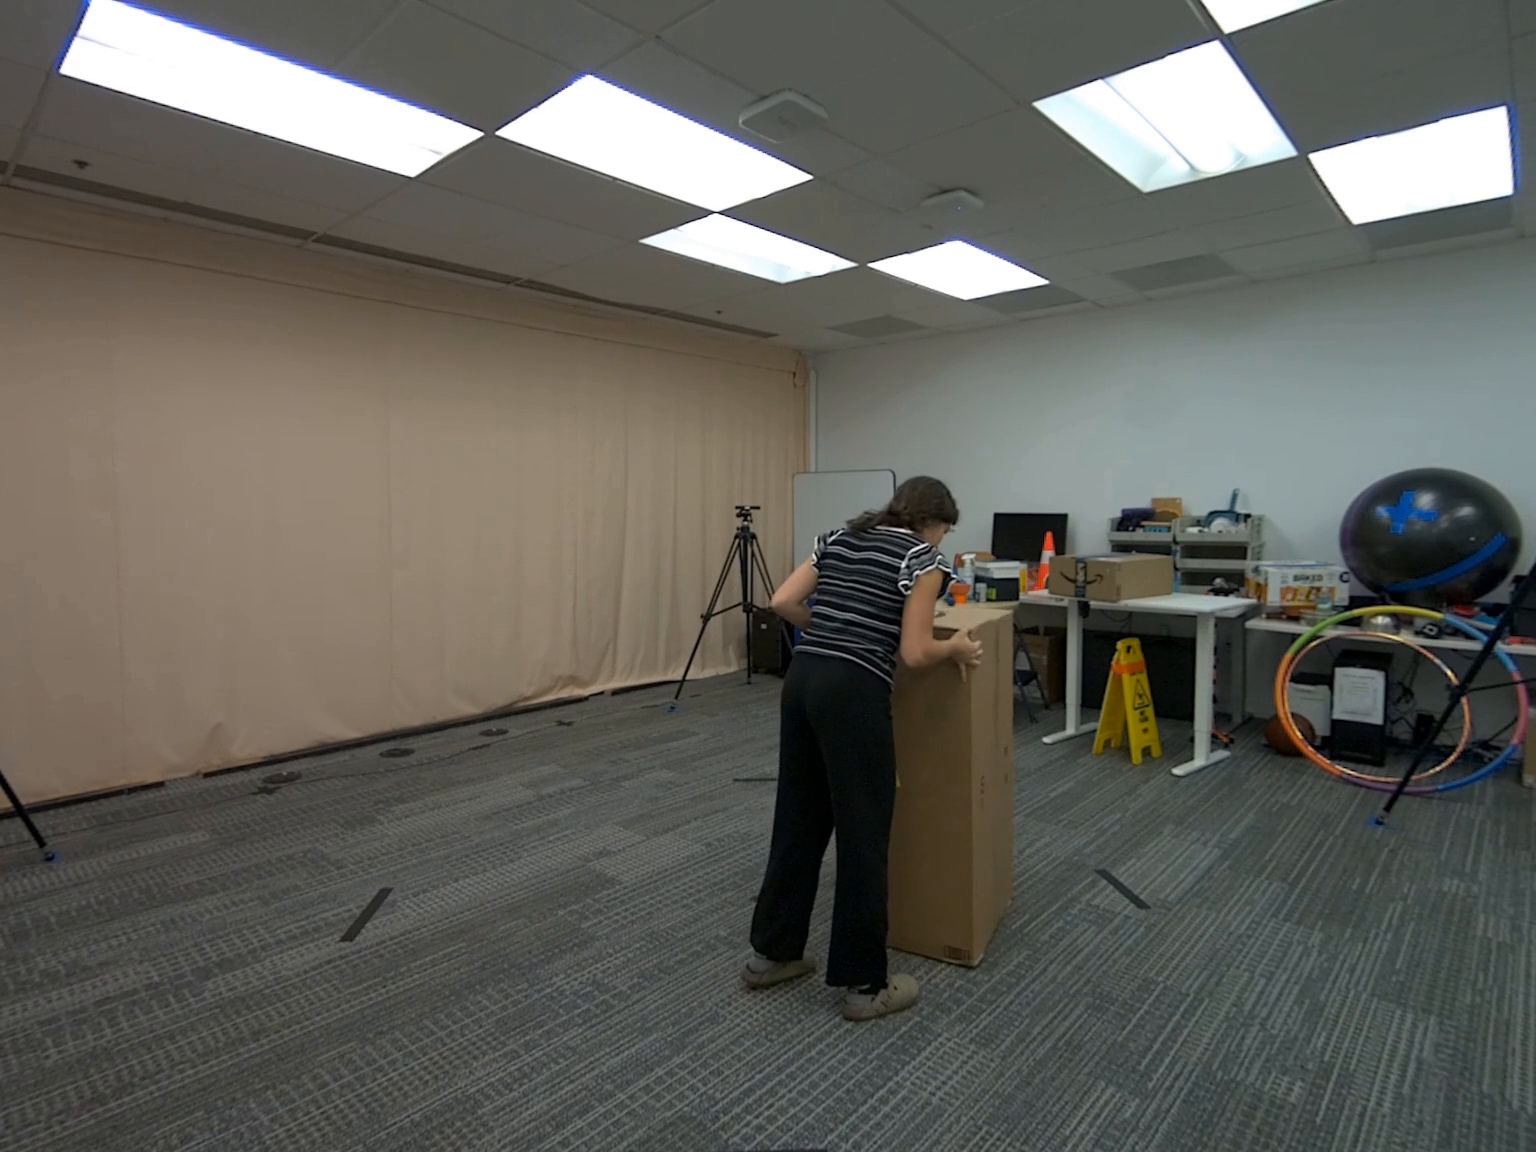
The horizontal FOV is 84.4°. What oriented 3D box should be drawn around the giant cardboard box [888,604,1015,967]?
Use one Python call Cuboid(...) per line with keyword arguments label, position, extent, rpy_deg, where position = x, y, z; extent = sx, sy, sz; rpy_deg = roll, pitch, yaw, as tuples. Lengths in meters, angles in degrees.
Cuboid(label="giant cardboard box", position=(0.558, 0.647, 2.855), extent=(0.438, 1.024, 0.562), rpy_deg=(1, 3, 30))
